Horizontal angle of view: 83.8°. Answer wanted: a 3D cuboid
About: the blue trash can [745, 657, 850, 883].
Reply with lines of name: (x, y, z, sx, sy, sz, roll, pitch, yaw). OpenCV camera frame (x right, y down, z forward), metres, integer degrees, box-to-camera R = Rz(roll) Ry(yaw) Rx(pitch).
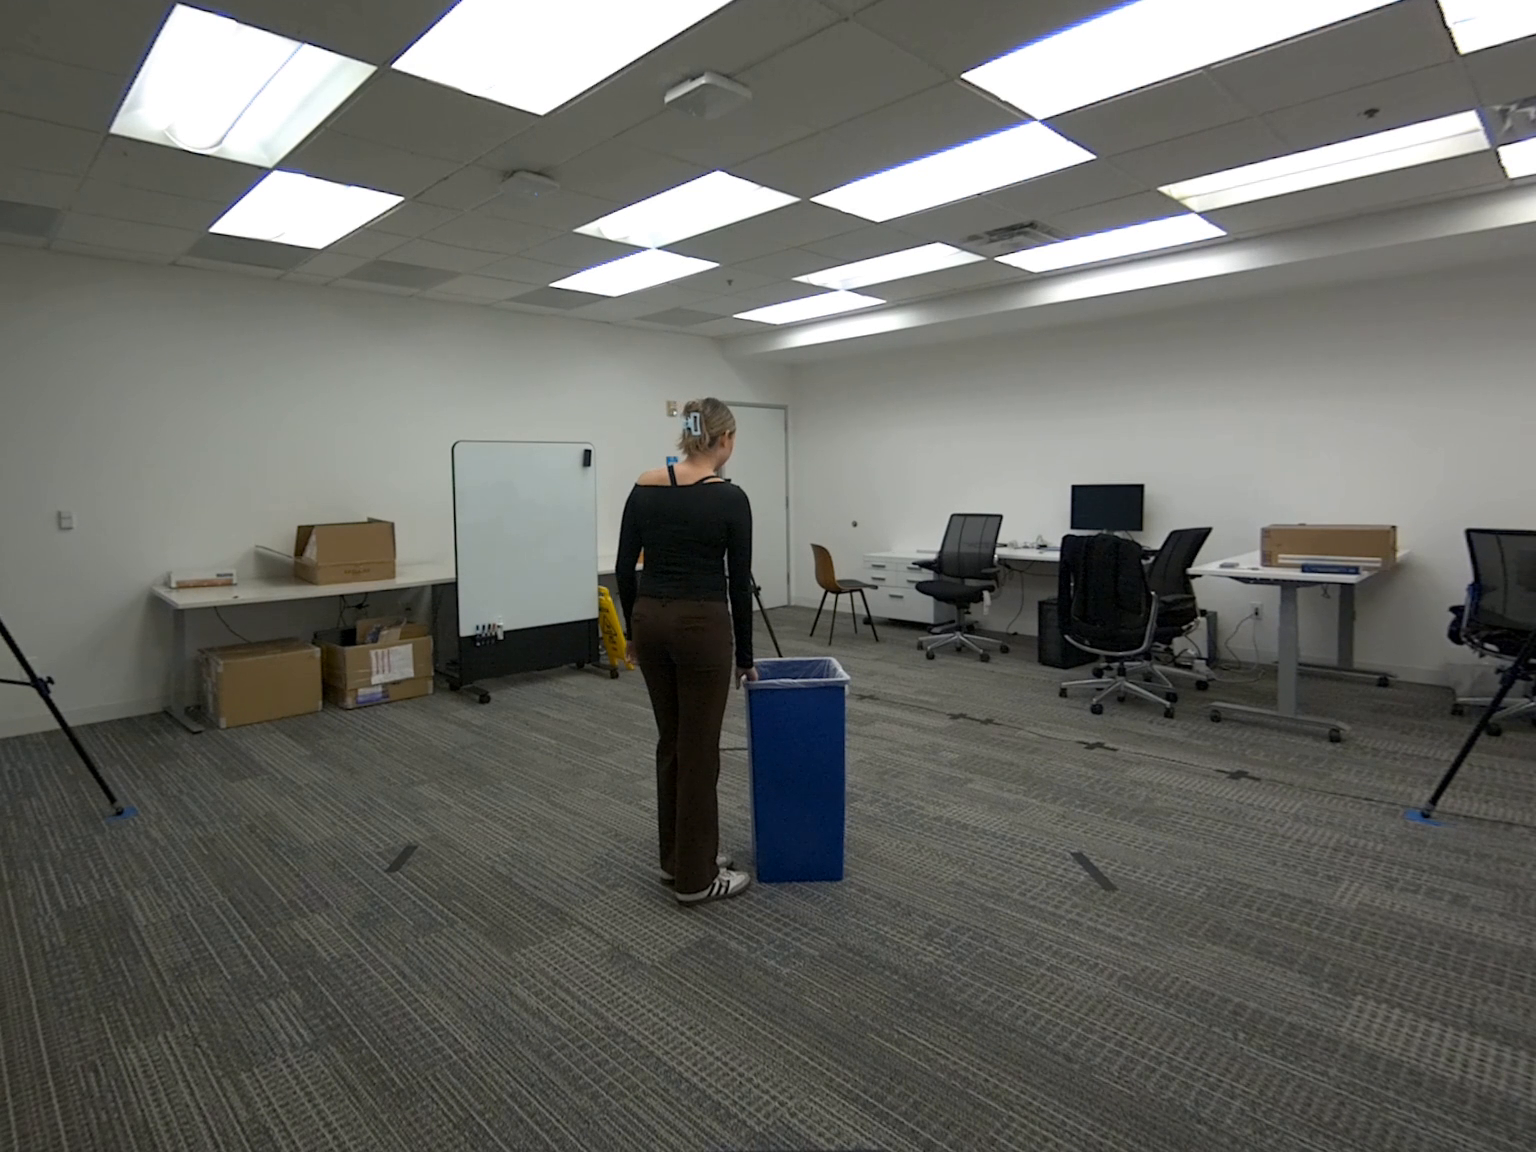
blue trash can: (0.091, 0.686, 3.083, 0.373, 0.711, 0.380, -1, 3, -2)
